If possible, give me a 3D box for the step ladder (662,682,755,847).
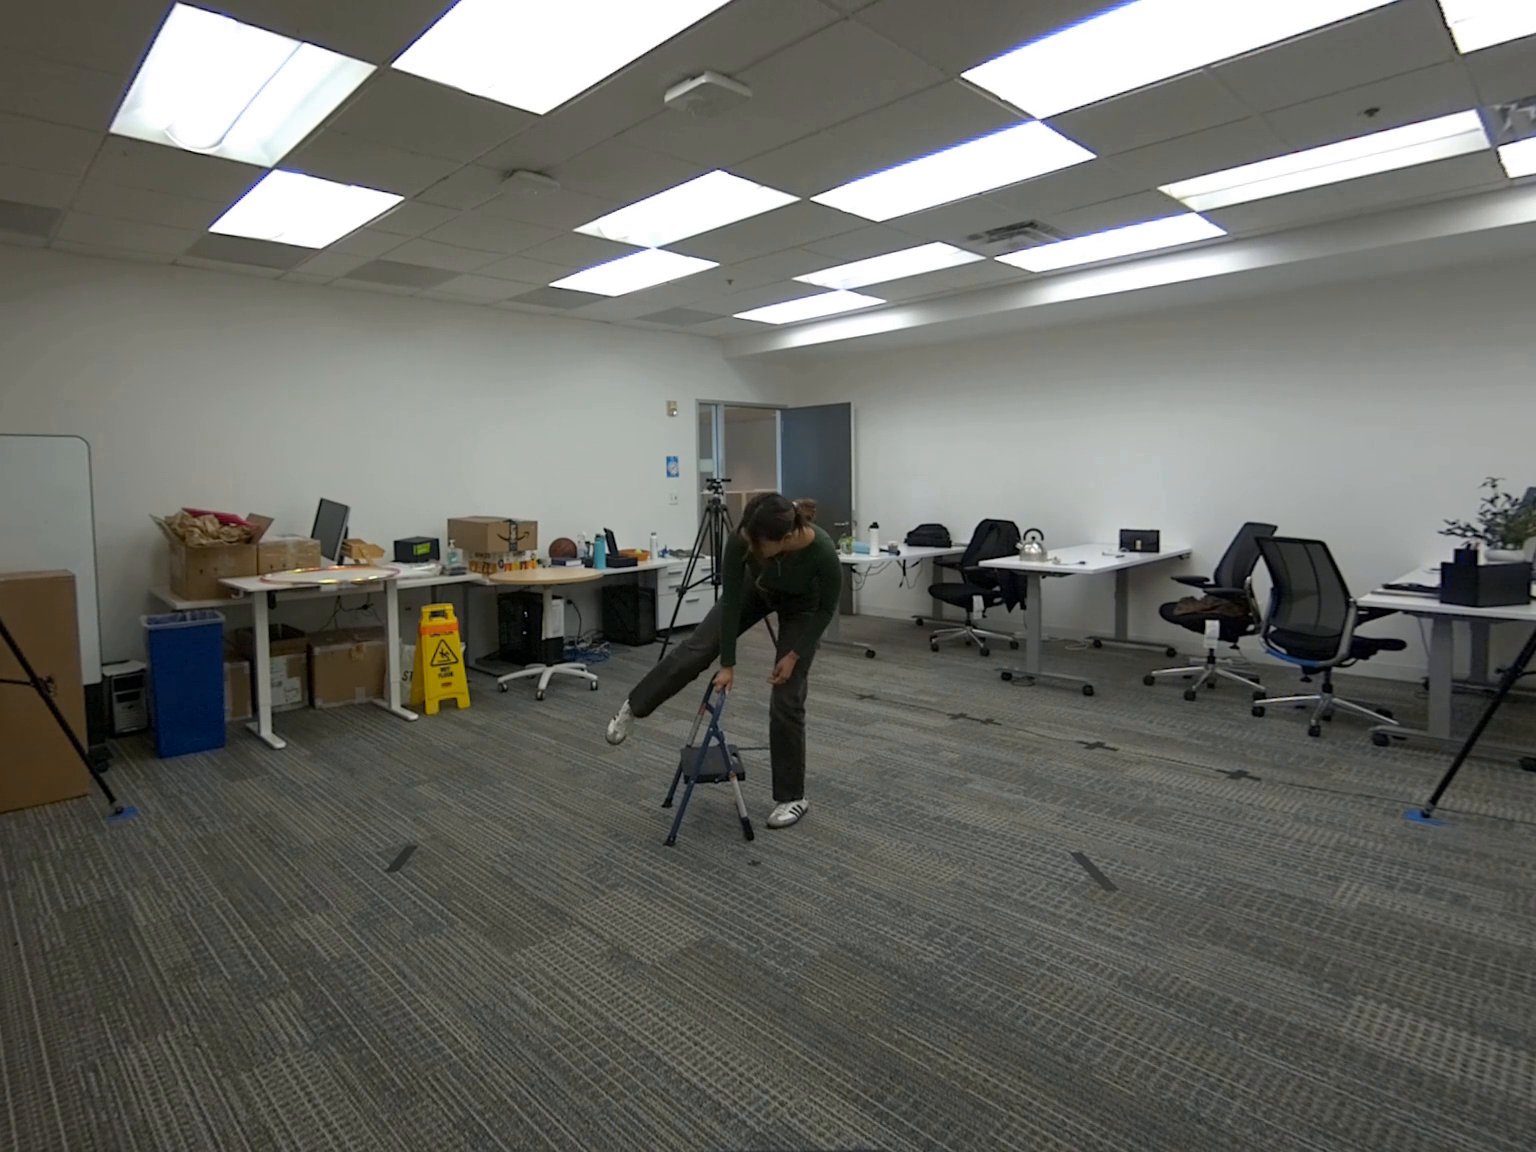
[{"bbox_3d":[-0.251,0.707,3.466,0.347,0.604,0.435,-1,4,-7],"label":"step ladder"}]
